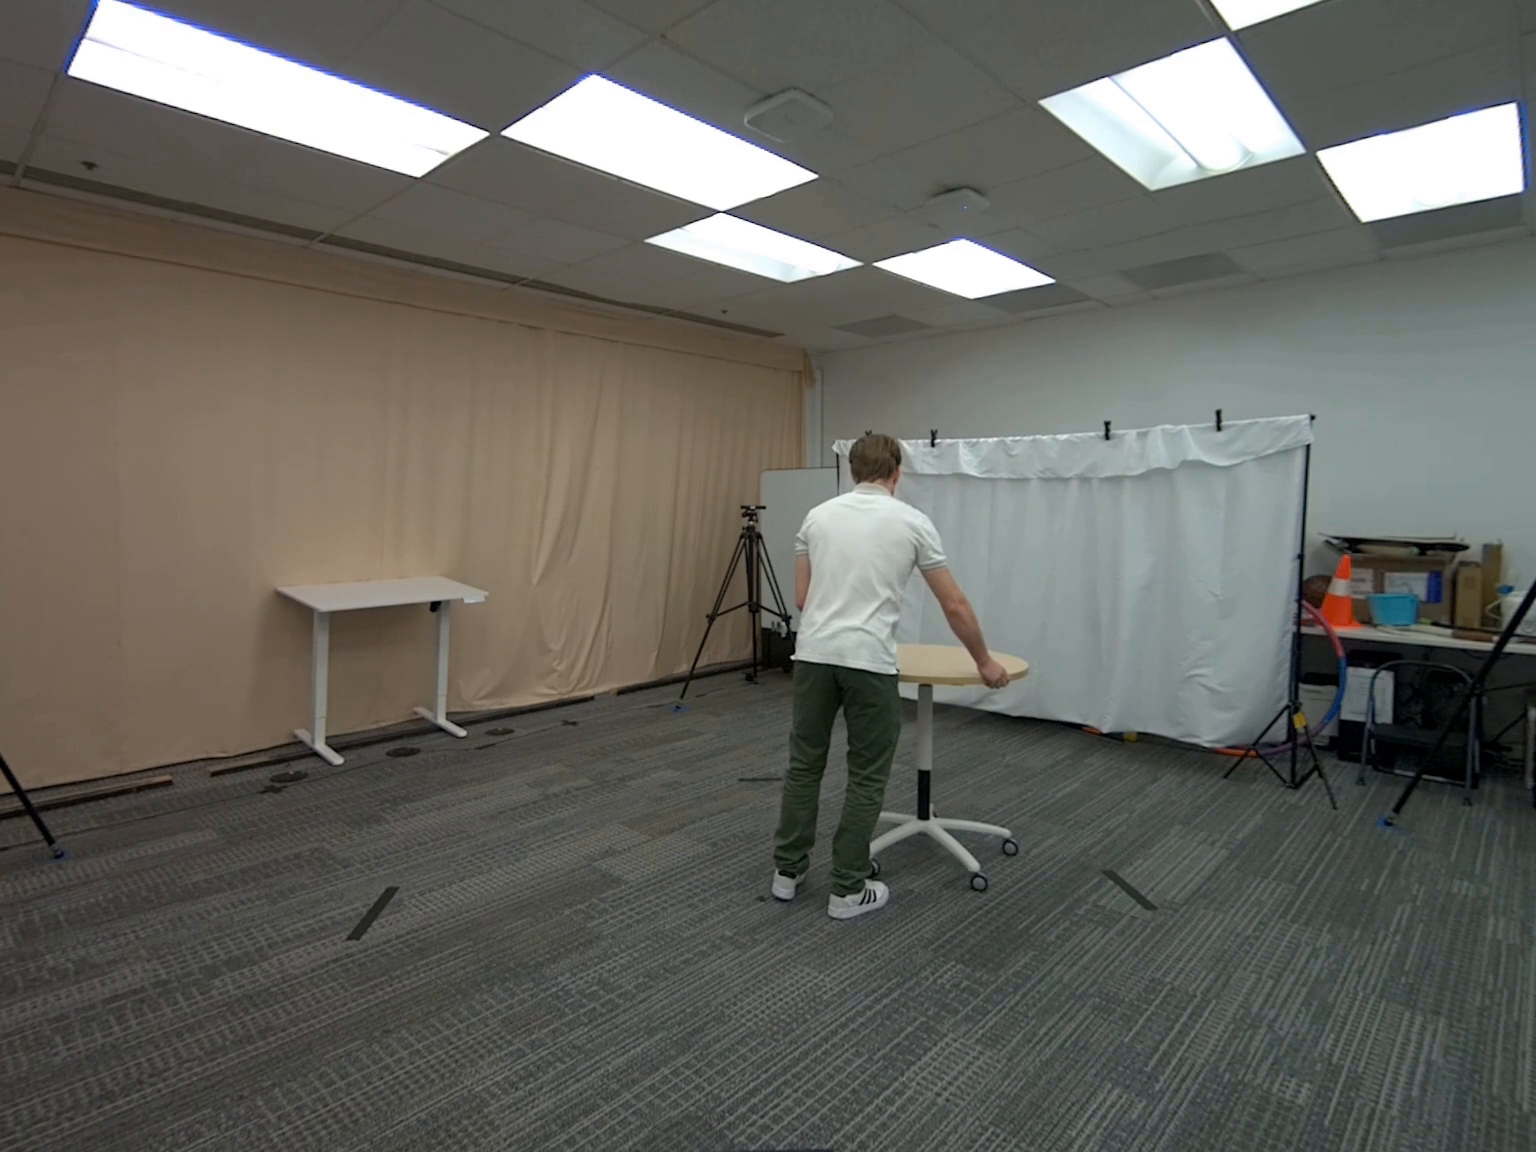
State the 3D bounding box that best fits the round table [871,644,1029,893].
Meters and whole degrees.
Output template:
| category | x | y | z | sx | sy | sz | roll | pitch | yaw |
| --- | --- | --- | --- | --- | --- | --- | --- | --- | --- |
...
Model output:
| category | x | y | z | sx | sy | sz | roll | pitch | yaw |
| --- | --- | --- | --- | --- | --- | --- | --- | --- | --- |
| round table | 0.625 | 0.722 | 3.361 | 0.763 | 0.792 | 0.766 | 0 | 3 | -2 |
